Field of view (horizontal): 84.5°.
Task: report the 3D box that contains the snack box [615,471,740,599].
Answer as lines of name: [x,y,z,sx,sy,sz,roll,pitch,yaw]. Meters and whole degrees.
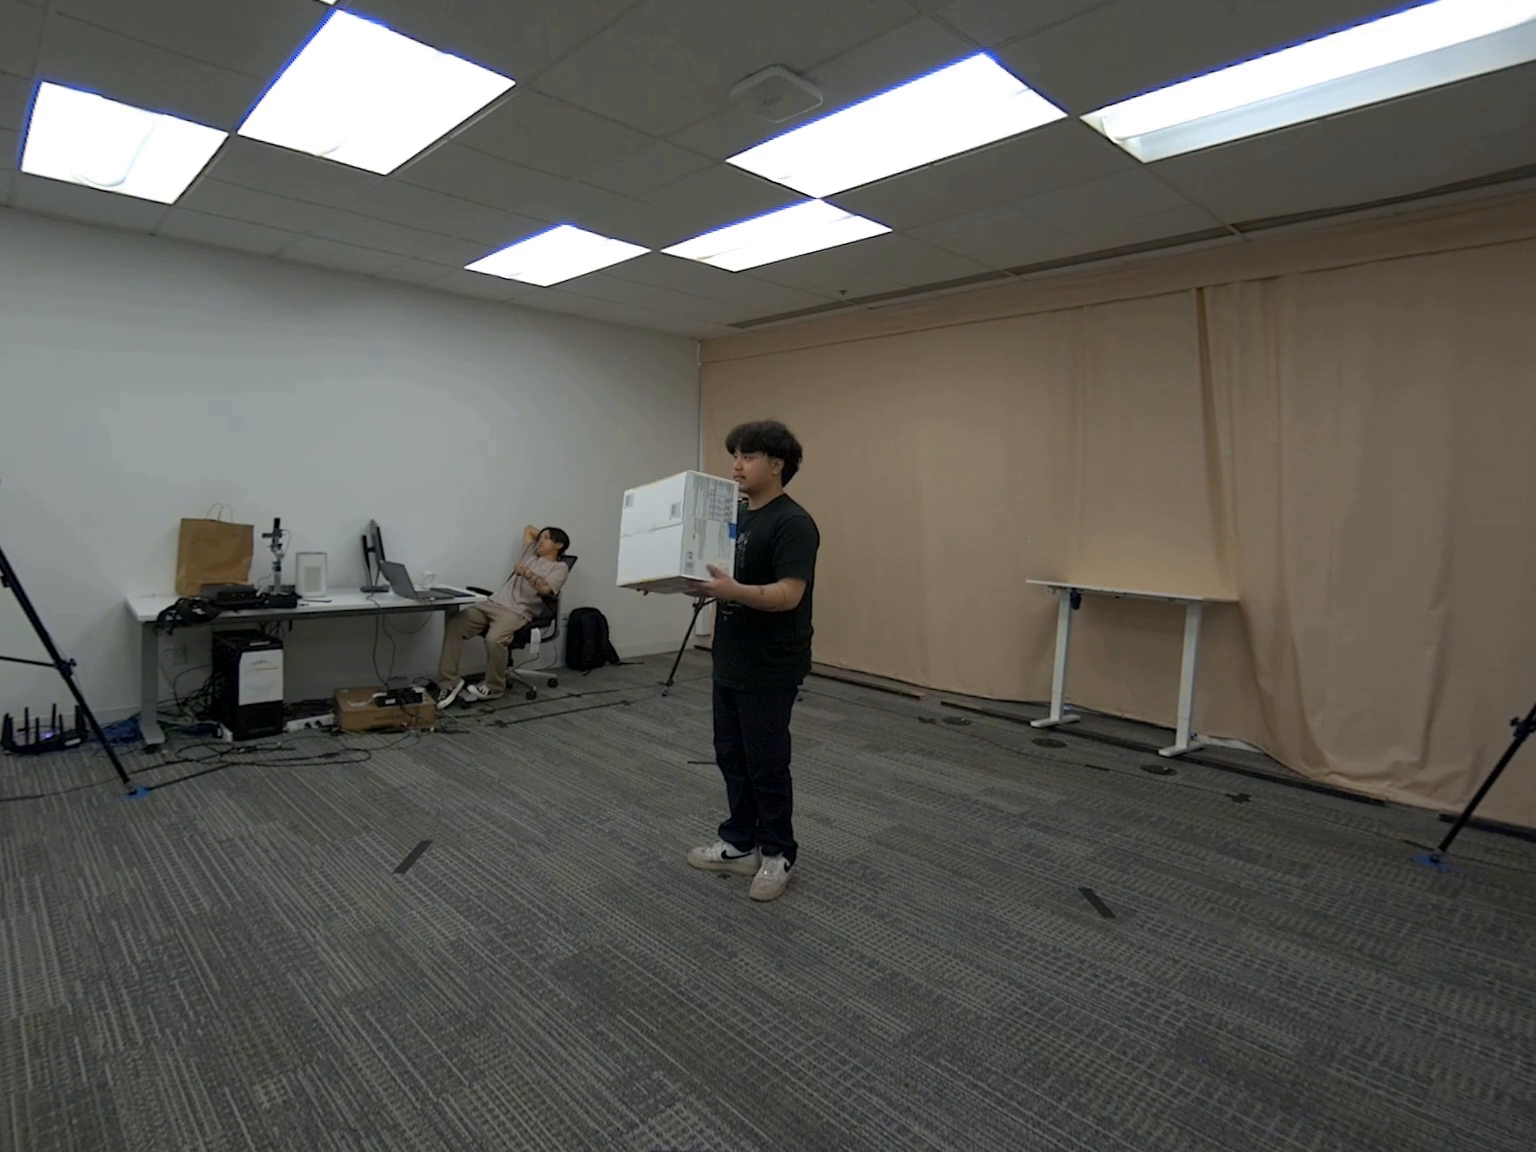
snack box: [-0.305,-0.124,2.800,0.200,0.343,0.412,11,-13,-36]
